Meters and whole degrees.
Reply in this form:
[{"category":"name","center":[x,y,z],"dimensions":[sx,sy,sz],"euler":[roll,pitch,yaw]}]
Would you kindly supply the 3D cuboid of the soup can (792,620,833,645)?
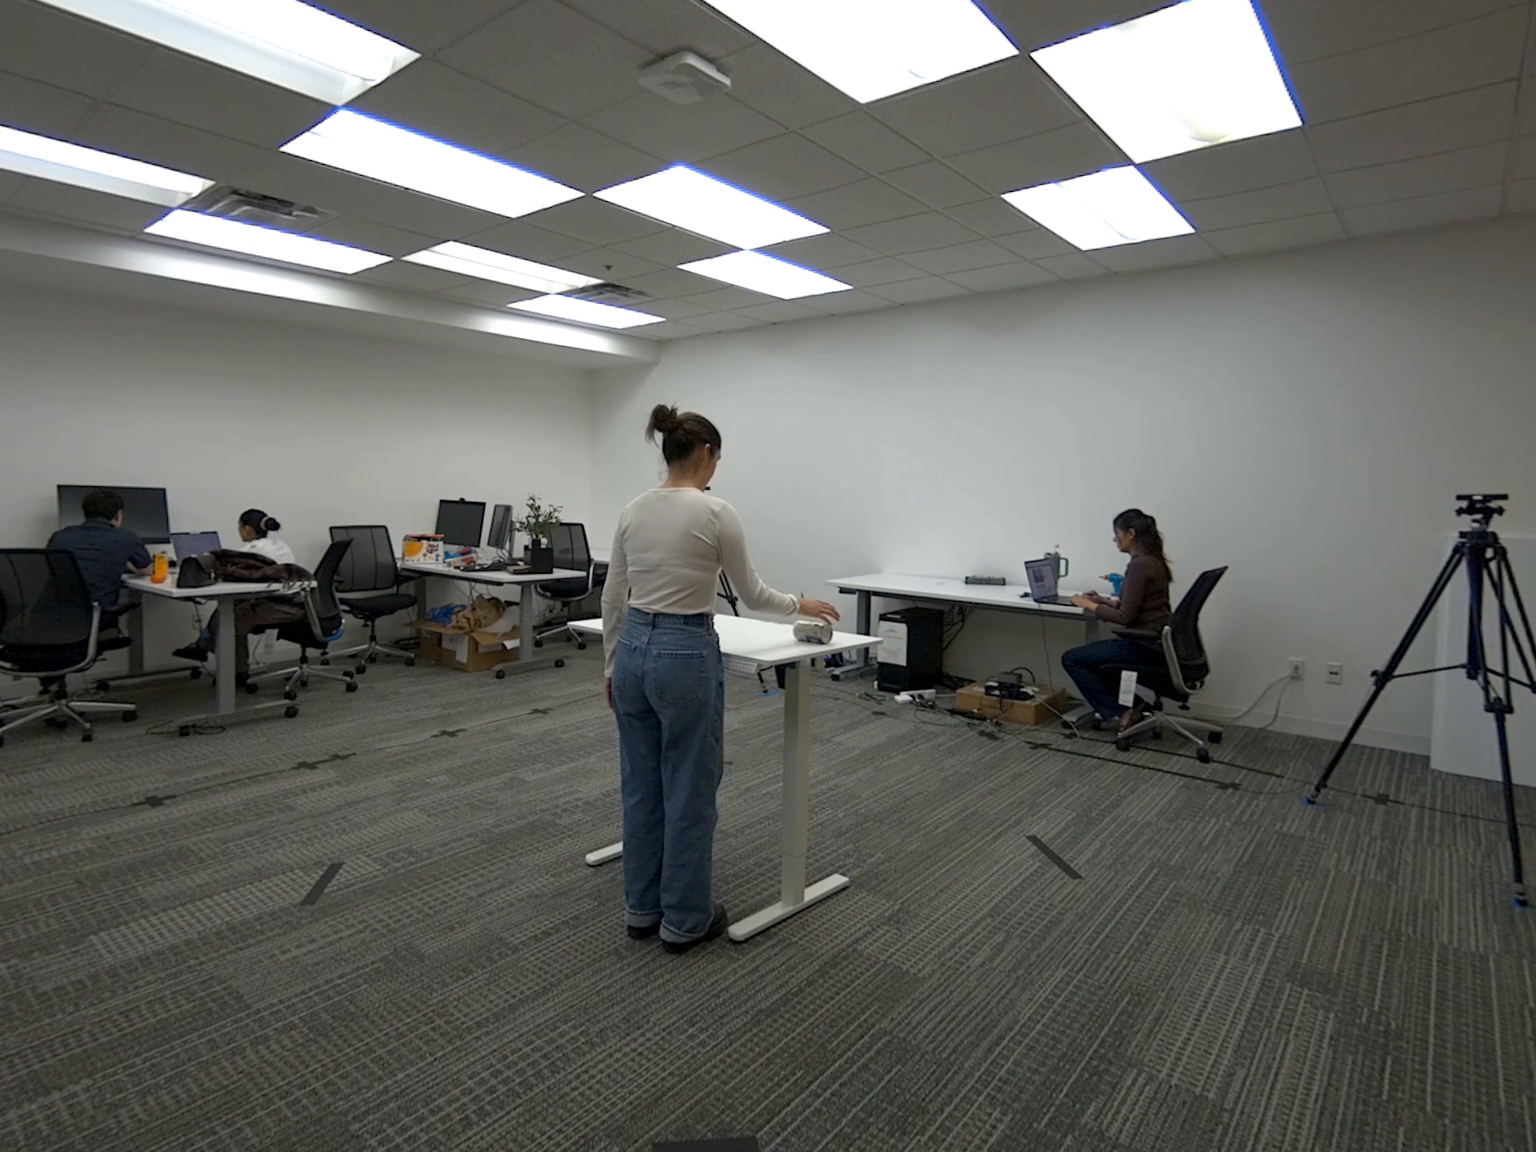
[{"category":"soup can","center":[0.138,0.180,2.811],"dimensions":[0.125,0.067,0.065],"euler":[5,6,34]}]
